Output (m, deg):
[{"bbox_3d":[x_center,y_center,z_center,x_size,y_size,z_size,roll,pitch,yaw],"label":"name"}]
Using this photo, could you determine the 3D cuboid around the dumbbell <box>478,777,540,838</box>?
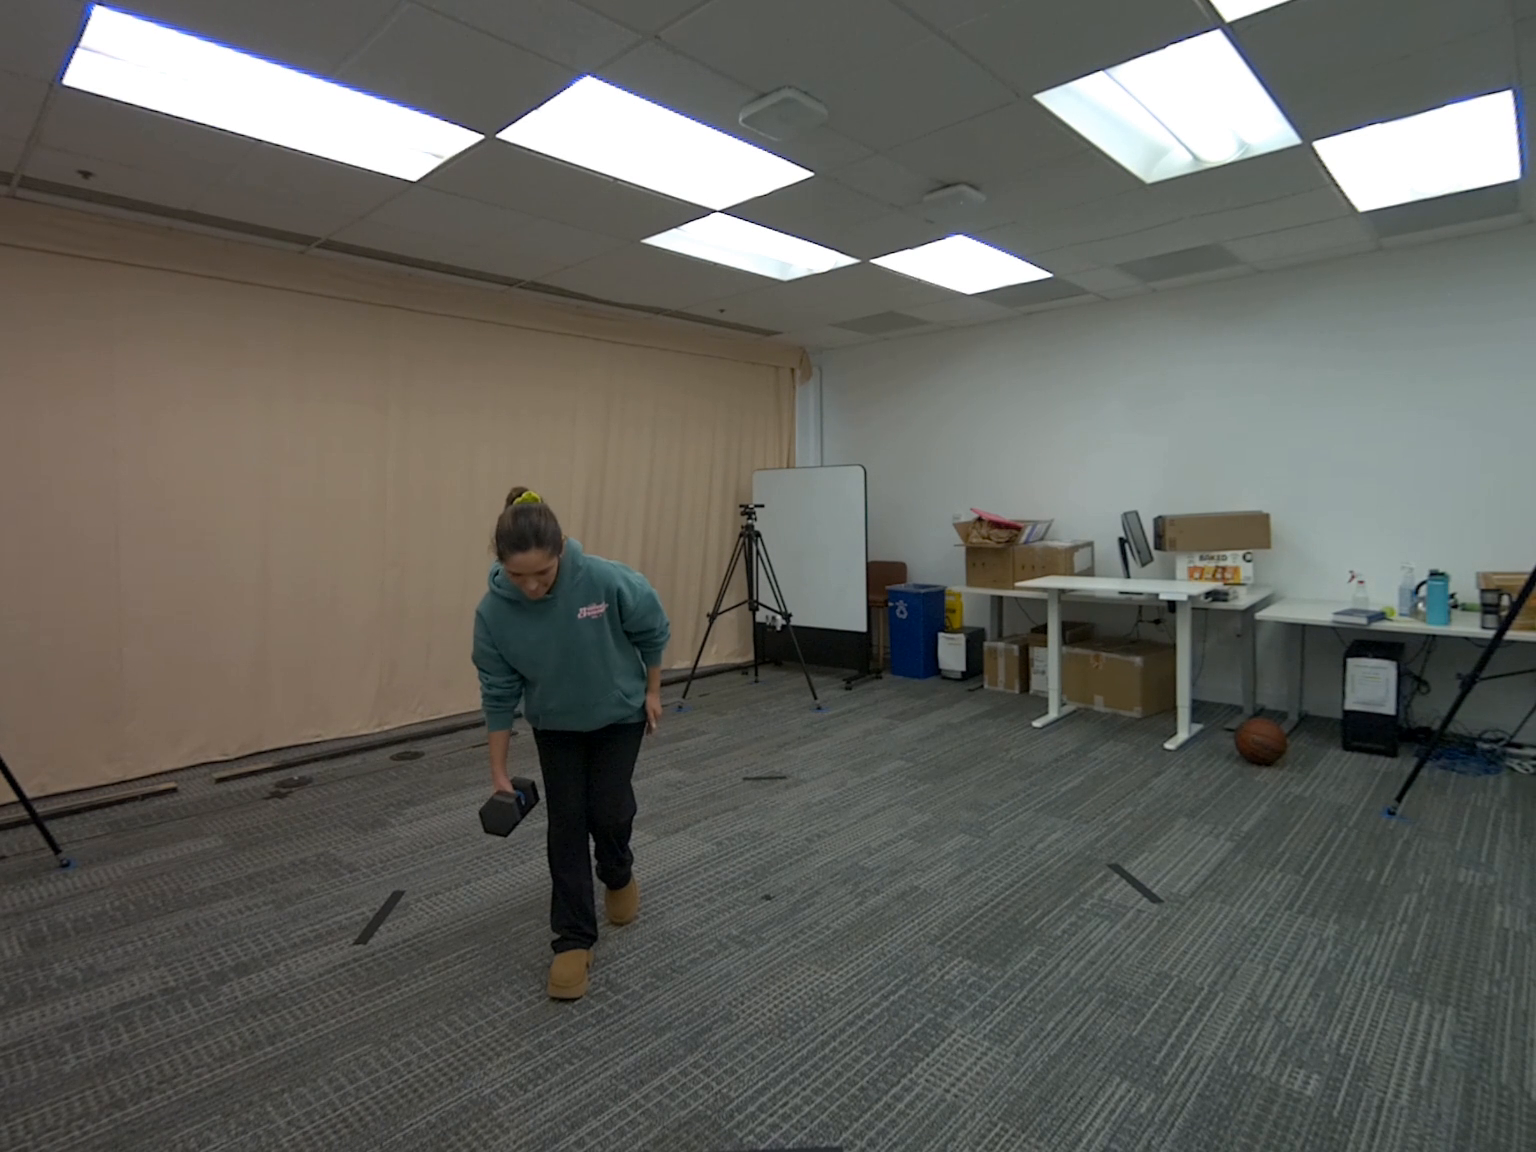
[{"bbox_3d":[-0.743,0.668,2.417,0.108,0.123,0.293,-18,-2,-3],"label":"dumbbell"}]
